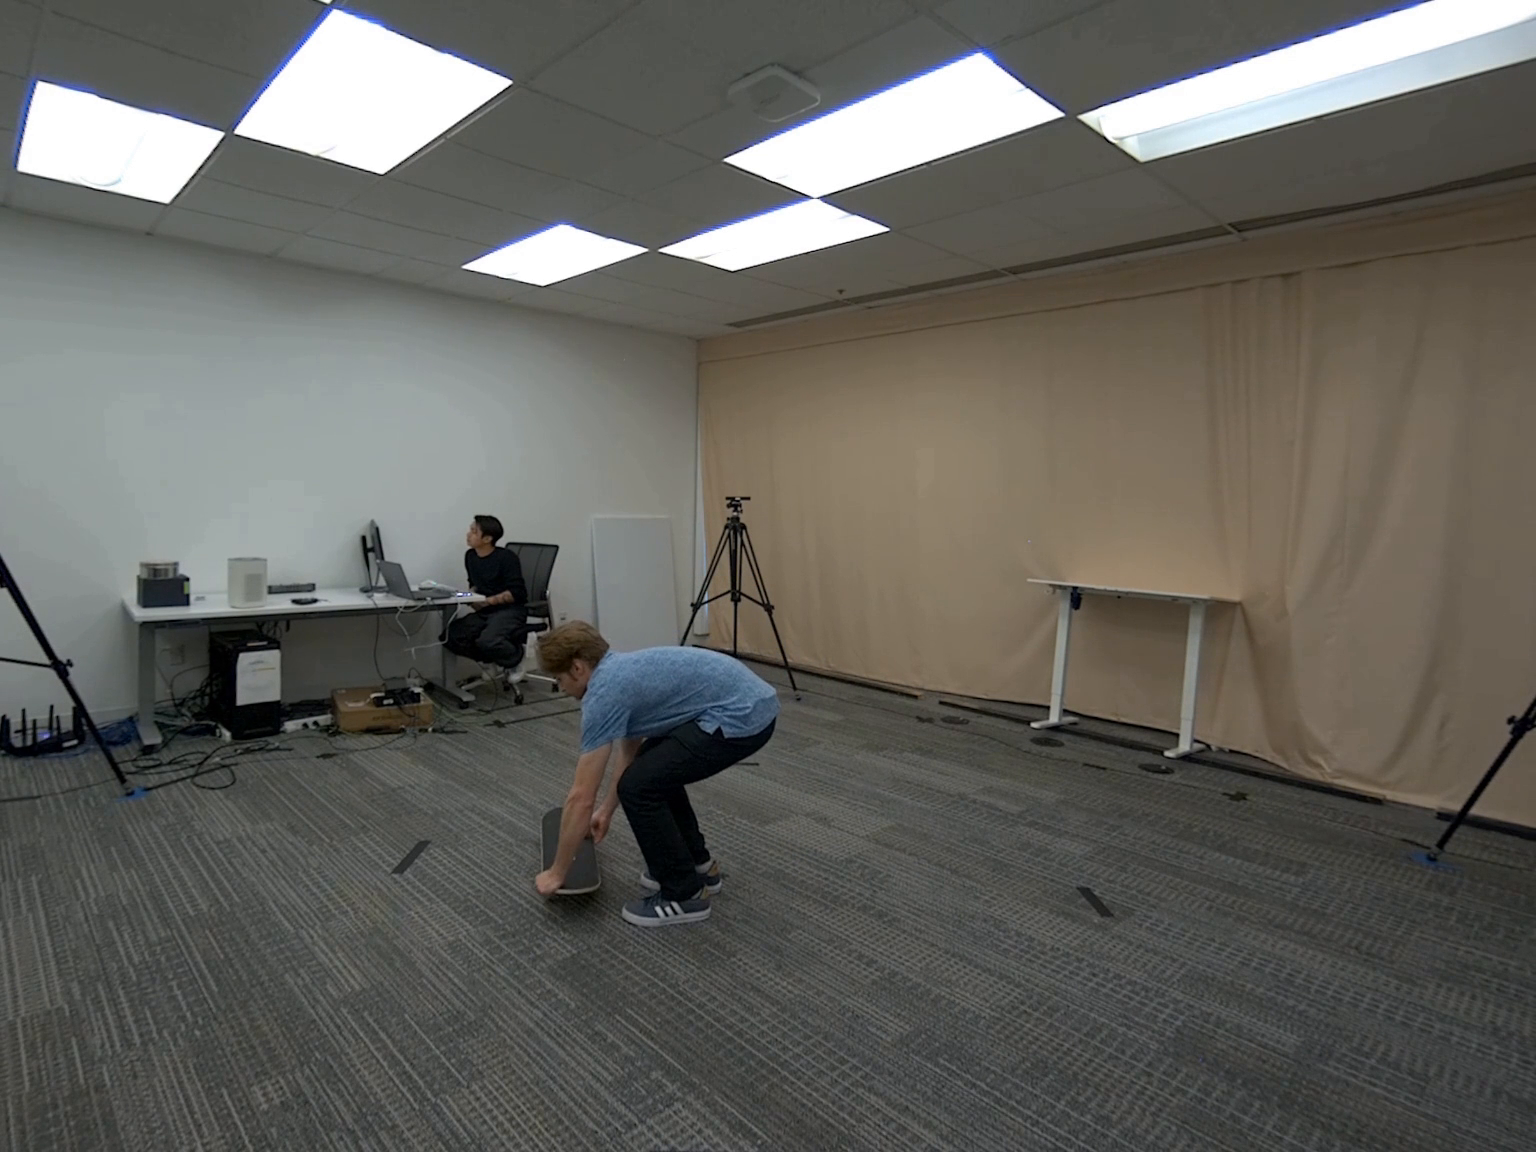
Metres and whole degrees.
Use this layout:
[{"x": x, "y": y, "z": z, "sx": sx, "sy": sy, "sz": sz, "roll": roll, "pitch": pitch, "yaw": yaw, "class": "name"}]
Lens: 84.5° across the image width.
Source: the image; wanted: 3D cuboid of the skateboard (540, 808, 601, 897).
[{"x": -0.735, "y": 1.026, "z": 3.089, "sx": 0.191, "sy": 0.110, "sz": 0.796, "roll": 1, "pitch": 4, "yaw": -15, "class": "skateboard"}]
